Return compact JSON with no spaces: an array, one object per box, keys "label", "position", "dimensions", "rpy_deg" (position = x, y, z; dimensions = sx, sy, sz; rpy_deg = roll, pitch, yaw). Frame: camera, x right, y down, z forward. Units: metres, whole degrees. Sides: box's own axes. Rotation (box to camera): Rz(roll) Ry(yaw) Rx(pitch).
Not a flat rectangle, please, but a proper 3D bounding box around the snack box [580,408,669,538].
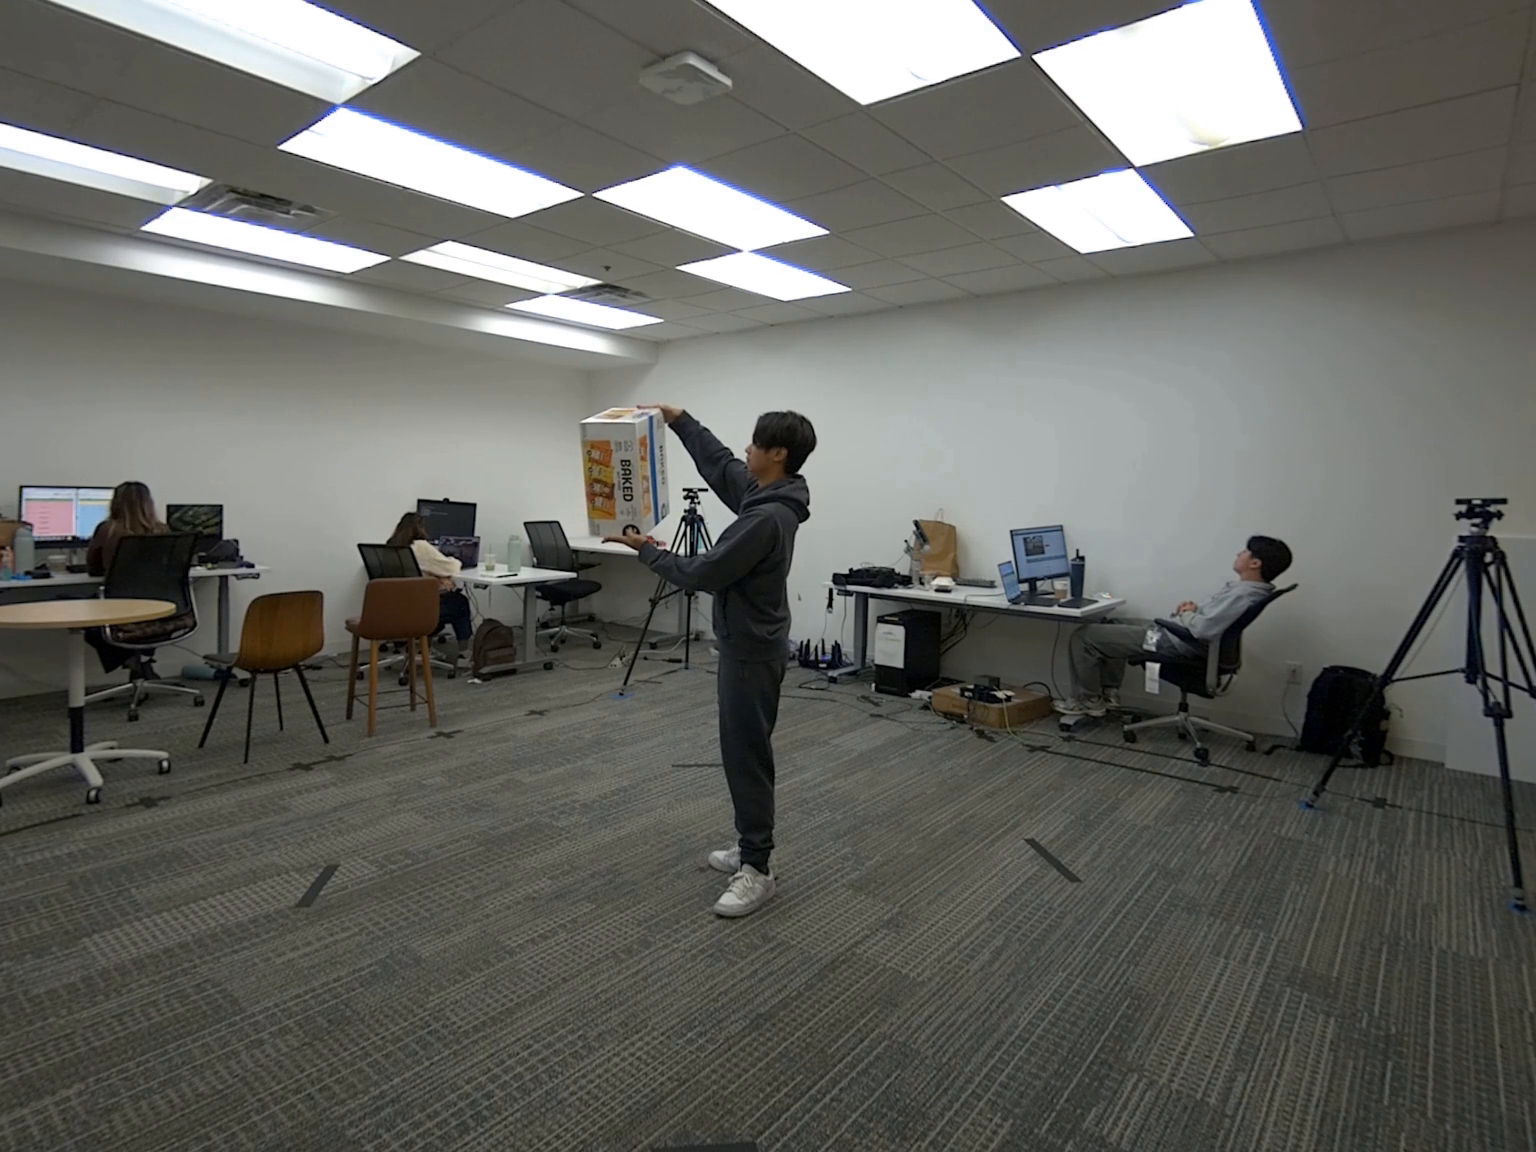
[{"label":"snack box","position":[-0.522,-0.385,3.060],"dimensions":[0.208,0.399,0.341],"rpy_deg":[2,18,10]}]
